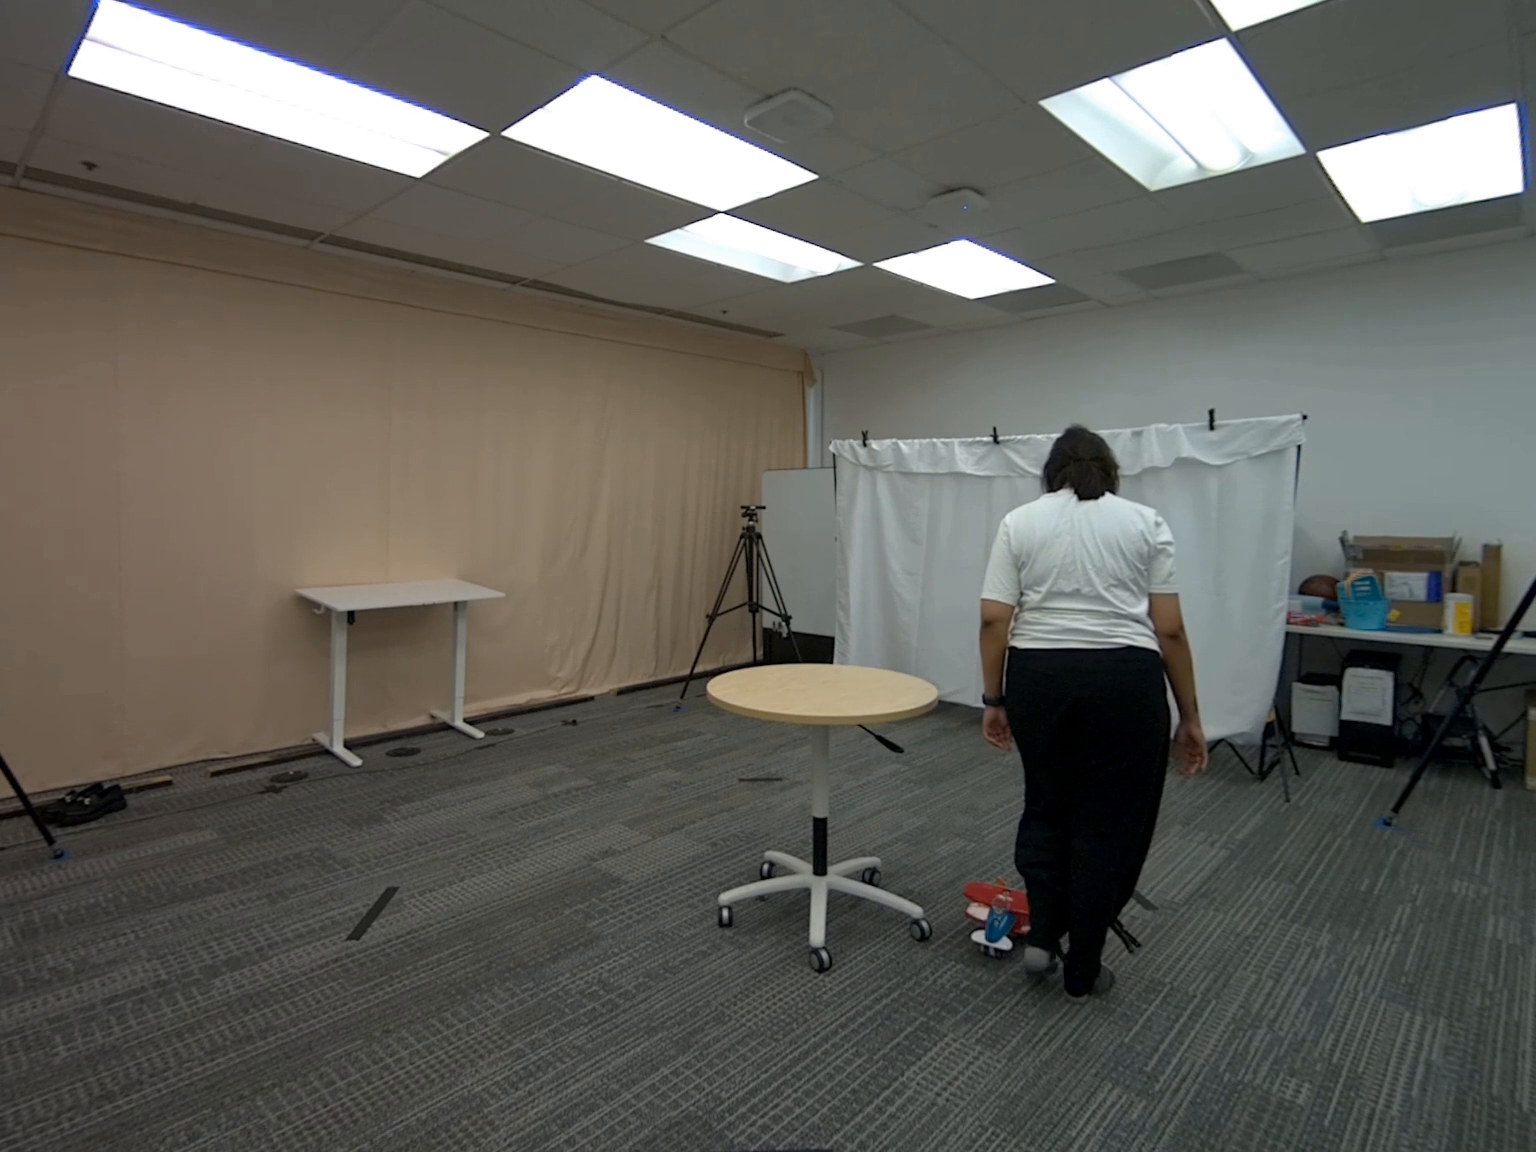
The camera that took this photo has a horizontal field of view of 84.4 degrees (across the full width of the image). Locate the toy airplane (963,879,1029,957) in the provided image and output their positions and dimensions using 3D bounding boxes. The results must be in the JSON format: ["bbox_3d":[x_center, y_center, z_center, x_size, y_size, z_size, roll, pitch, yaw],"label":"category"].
[{"bbox_3d":[0.771,1.095,2.656,0.253,0.156,0.258,1,4,5],"label":"toy airplane"}]
